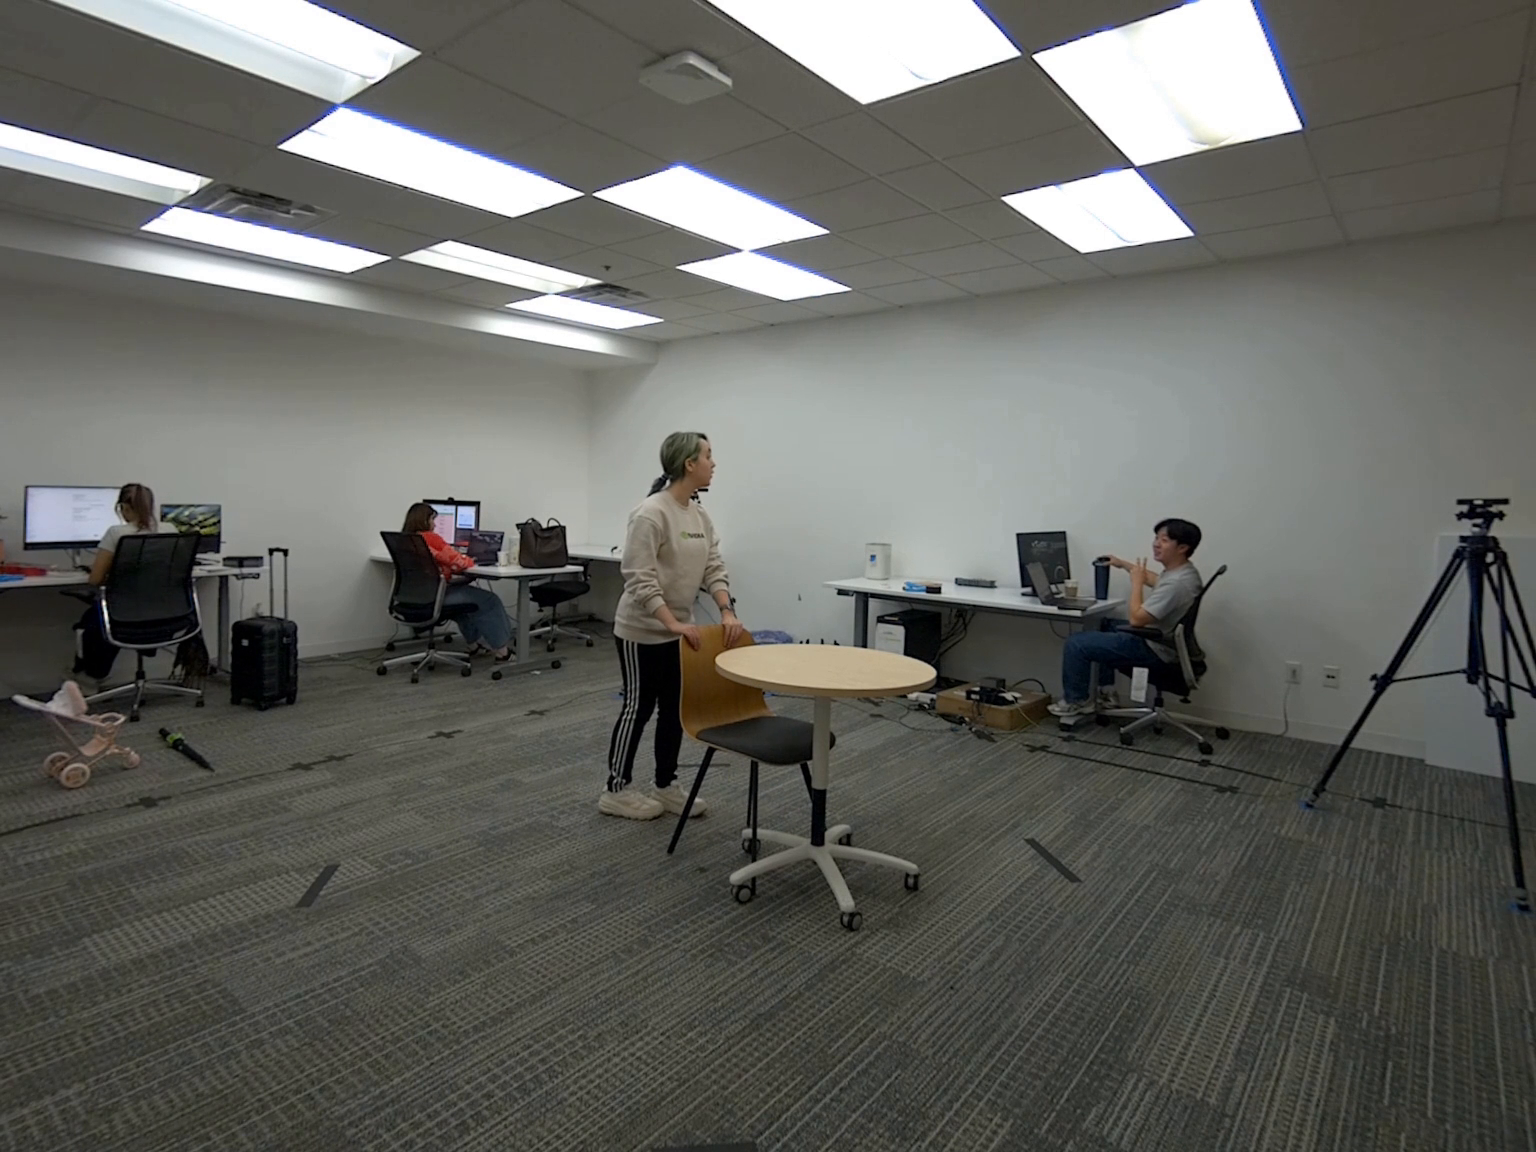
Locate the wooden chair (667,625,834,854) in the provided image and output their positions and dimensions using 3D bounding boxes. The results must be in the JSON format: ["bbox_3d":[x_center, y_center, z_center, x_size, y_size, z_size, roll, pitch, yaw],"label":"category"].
[{"bbox_3d":[-0.059,0.639,3.194,0.539,0.878,0.463,-1,0,45],"label":"wooden chair"}]
